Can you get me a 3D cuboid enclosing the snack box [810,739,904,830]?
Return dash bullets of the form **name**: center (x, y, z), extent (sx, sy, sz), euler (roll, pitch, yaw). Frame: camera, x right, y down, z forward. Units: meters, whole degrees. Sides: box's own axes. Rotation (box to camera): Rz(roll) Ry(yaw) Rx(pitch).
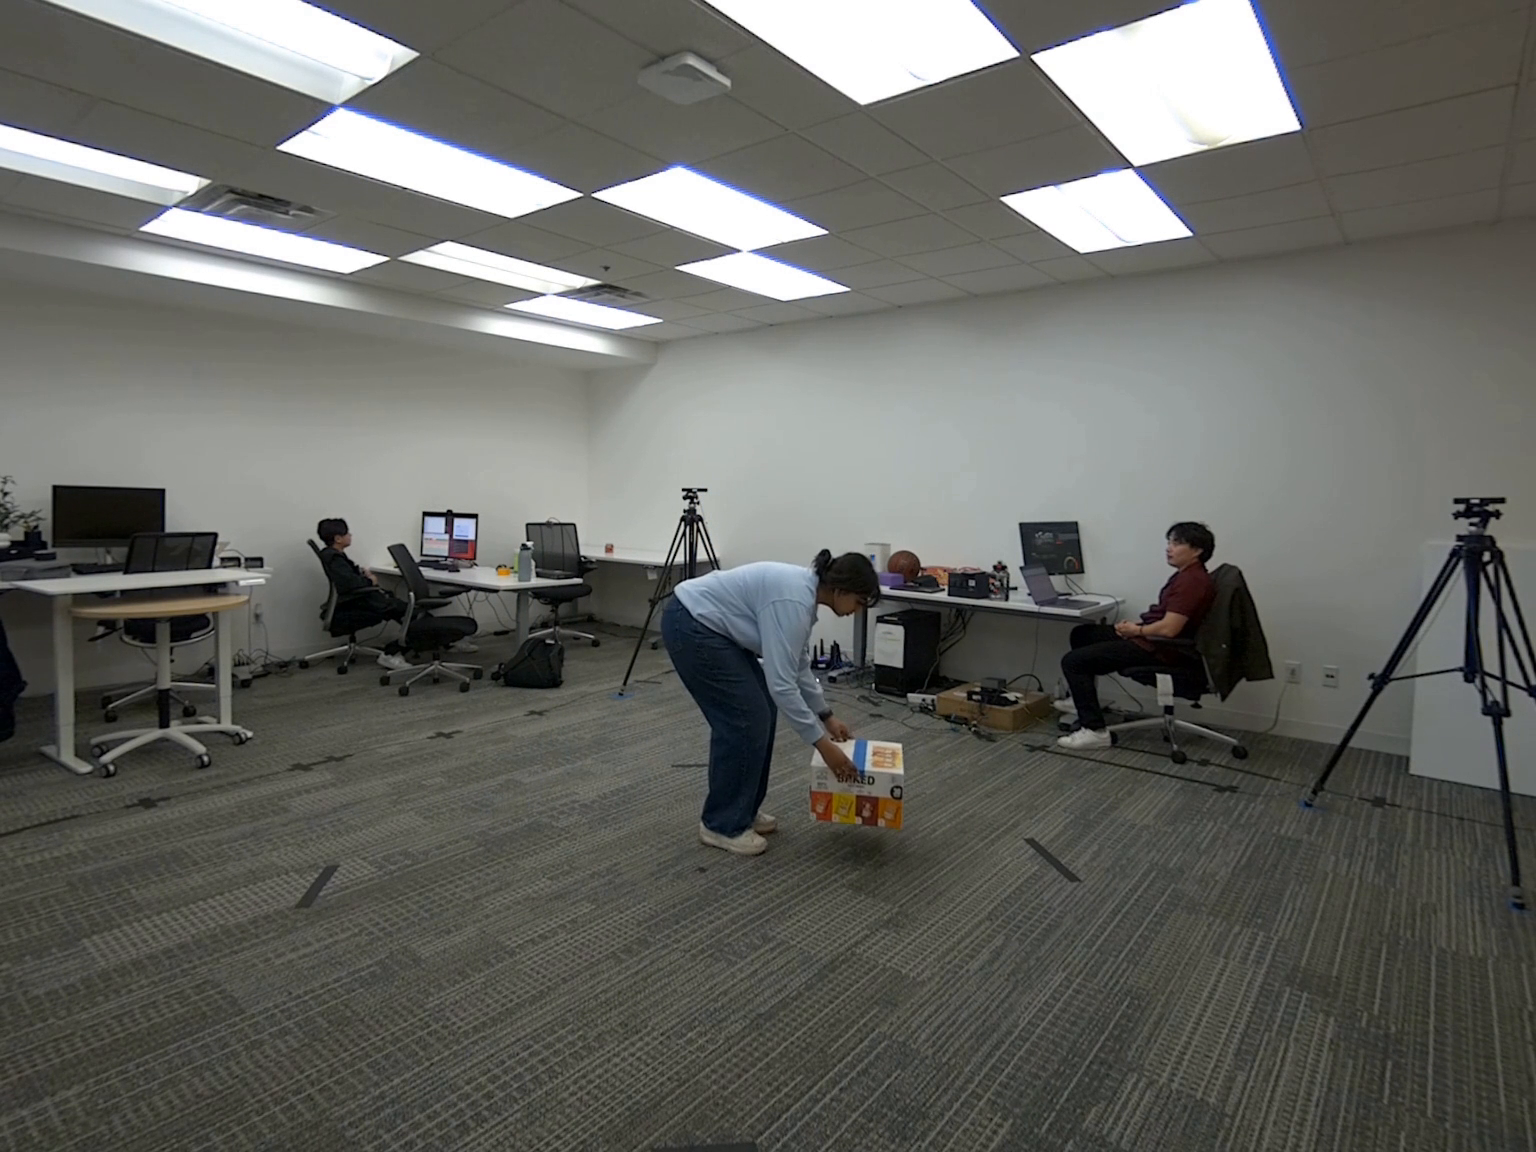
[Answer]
- **snack box**: center (0.344, 0.791, 3.331), extent (0.344, 0.205, 0.402), euler (2, 5, 9)
